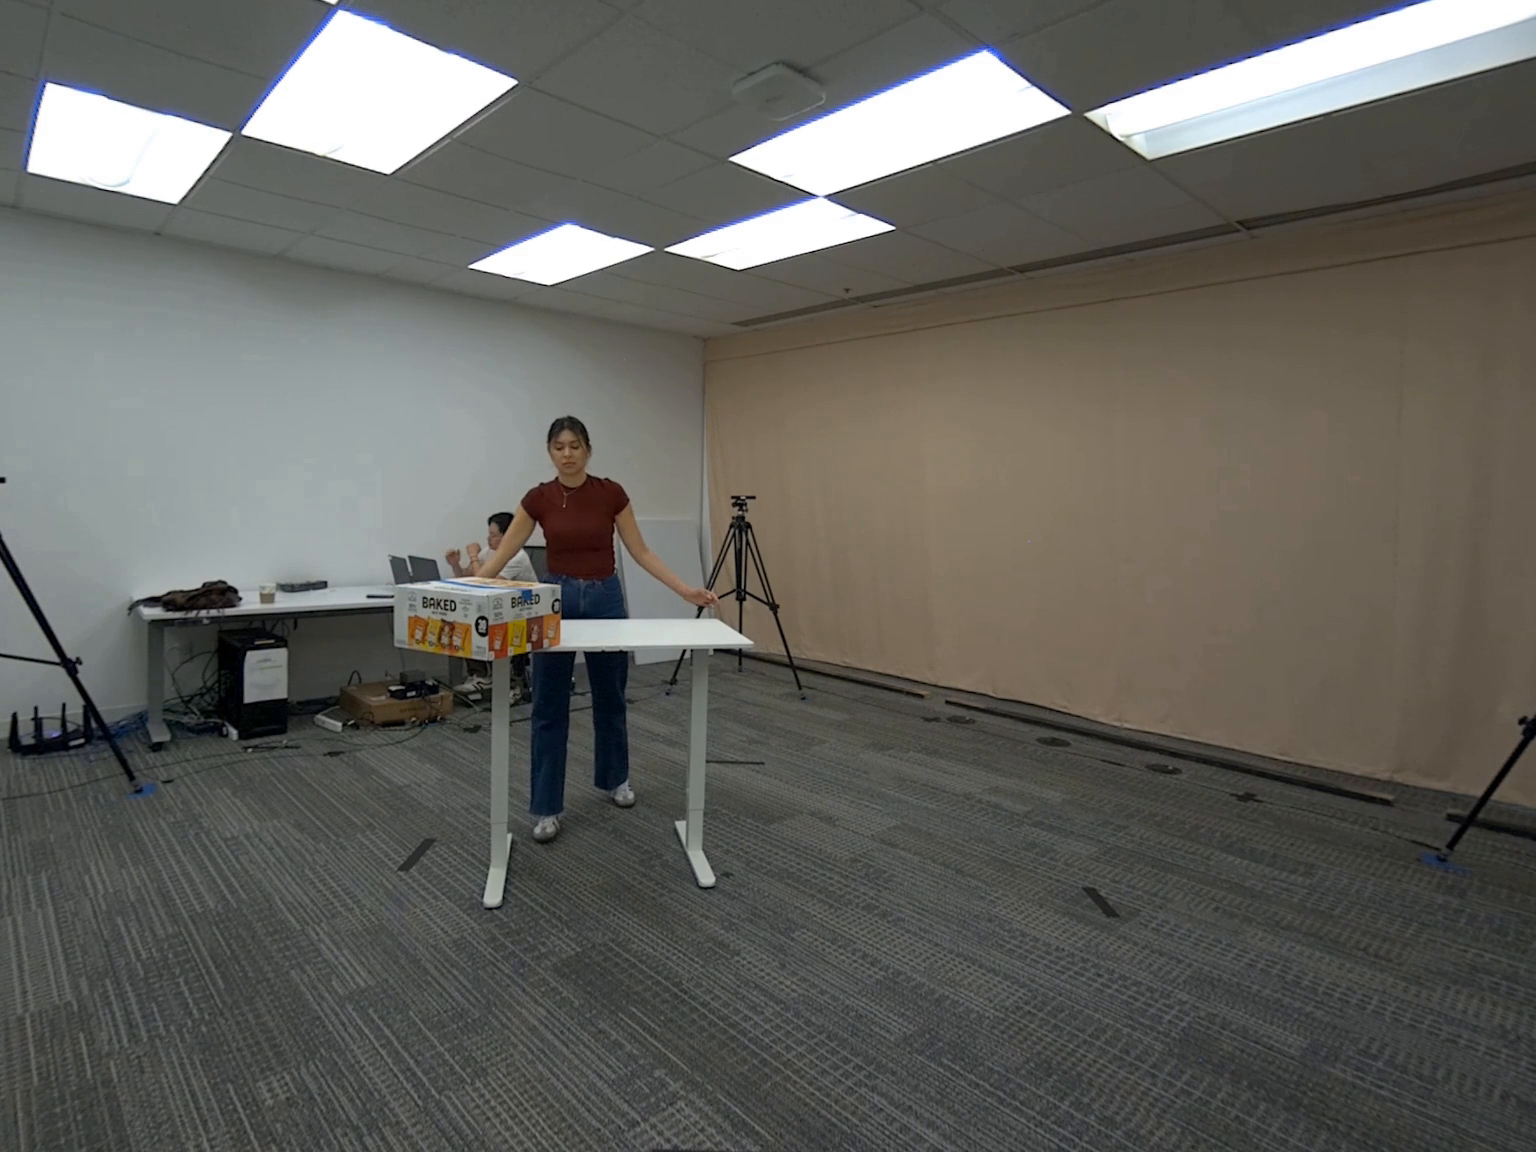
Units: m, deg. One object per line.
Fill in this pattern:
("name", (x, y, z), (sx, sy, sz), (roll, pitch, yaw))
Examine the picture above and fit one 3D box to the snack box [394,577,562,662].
("snack box", (-0.958, 0.131, 2.776), (0.413, 0.205, 0.334), (4, 5, 27))
